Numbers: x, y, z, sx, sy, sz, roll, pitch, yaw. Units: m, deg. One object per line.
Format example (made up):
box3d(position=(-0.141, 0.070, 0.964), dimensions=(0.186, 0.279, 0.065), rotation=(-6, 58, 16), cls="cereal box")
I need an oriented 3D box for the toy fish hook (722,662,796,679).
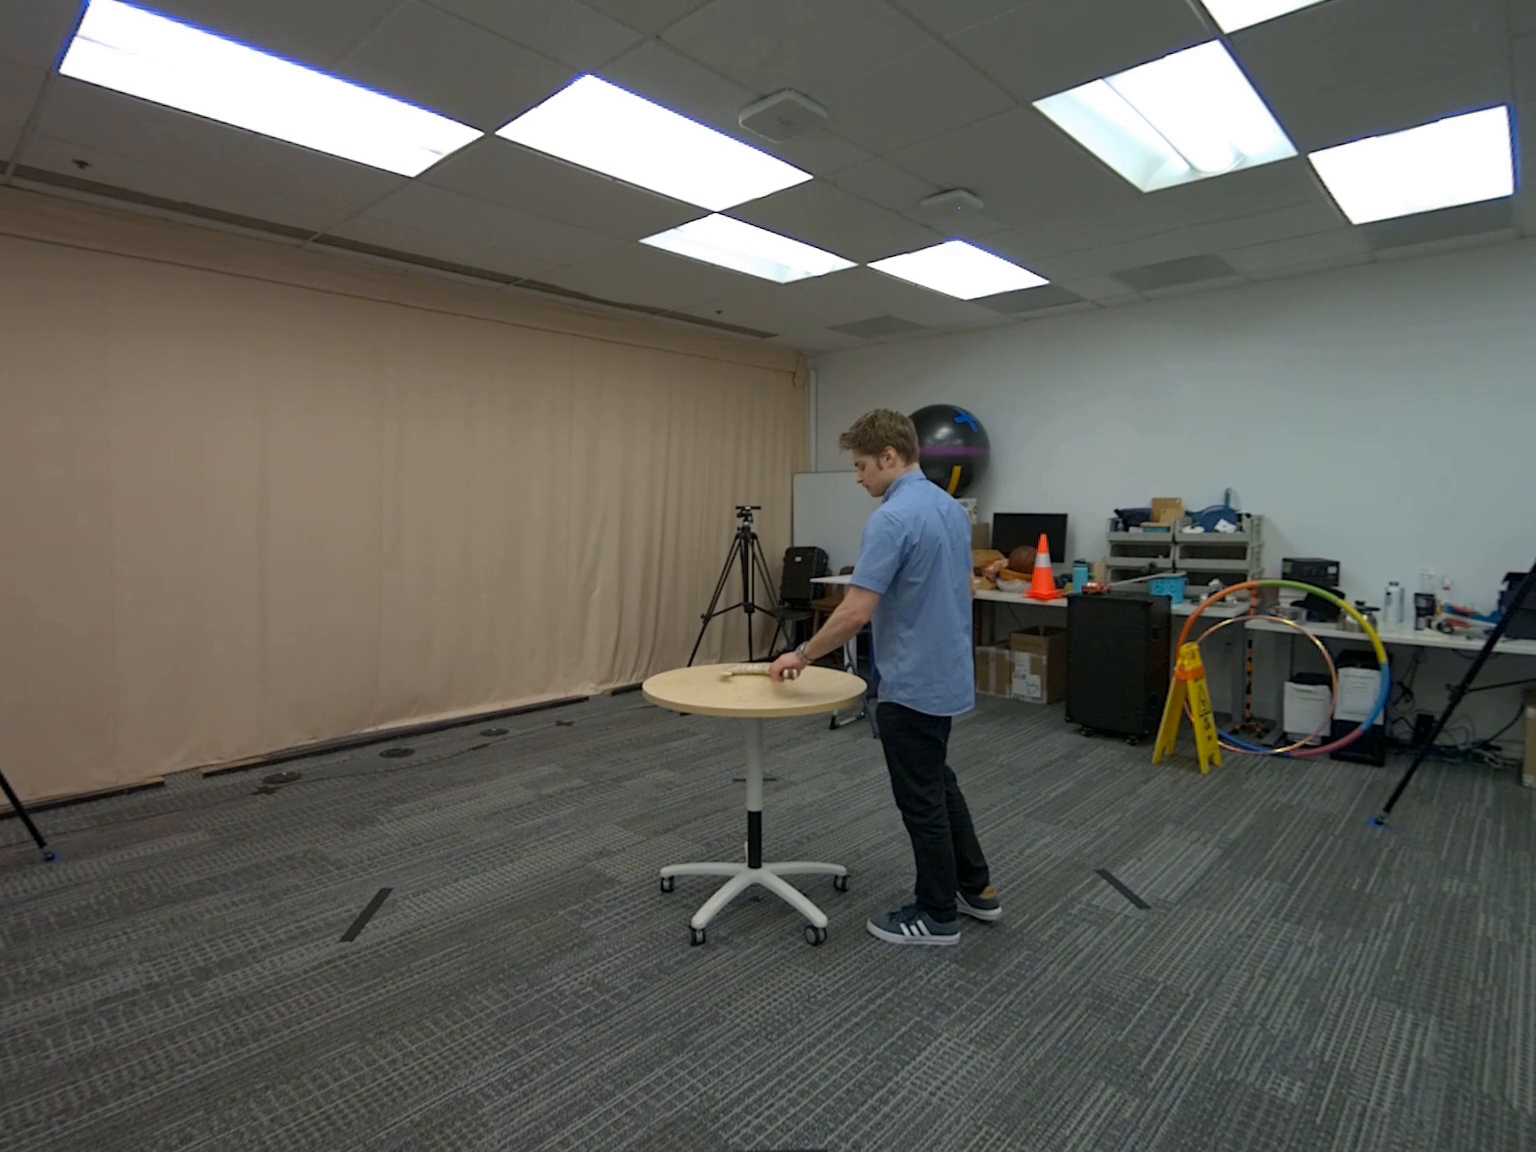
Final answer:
box3d(position=(-0.024, 0.328, 2.842), dimensions=(0.222, 0.048, 0.511), rotation=(-6, -3, -14), cls="toy fish hook")
